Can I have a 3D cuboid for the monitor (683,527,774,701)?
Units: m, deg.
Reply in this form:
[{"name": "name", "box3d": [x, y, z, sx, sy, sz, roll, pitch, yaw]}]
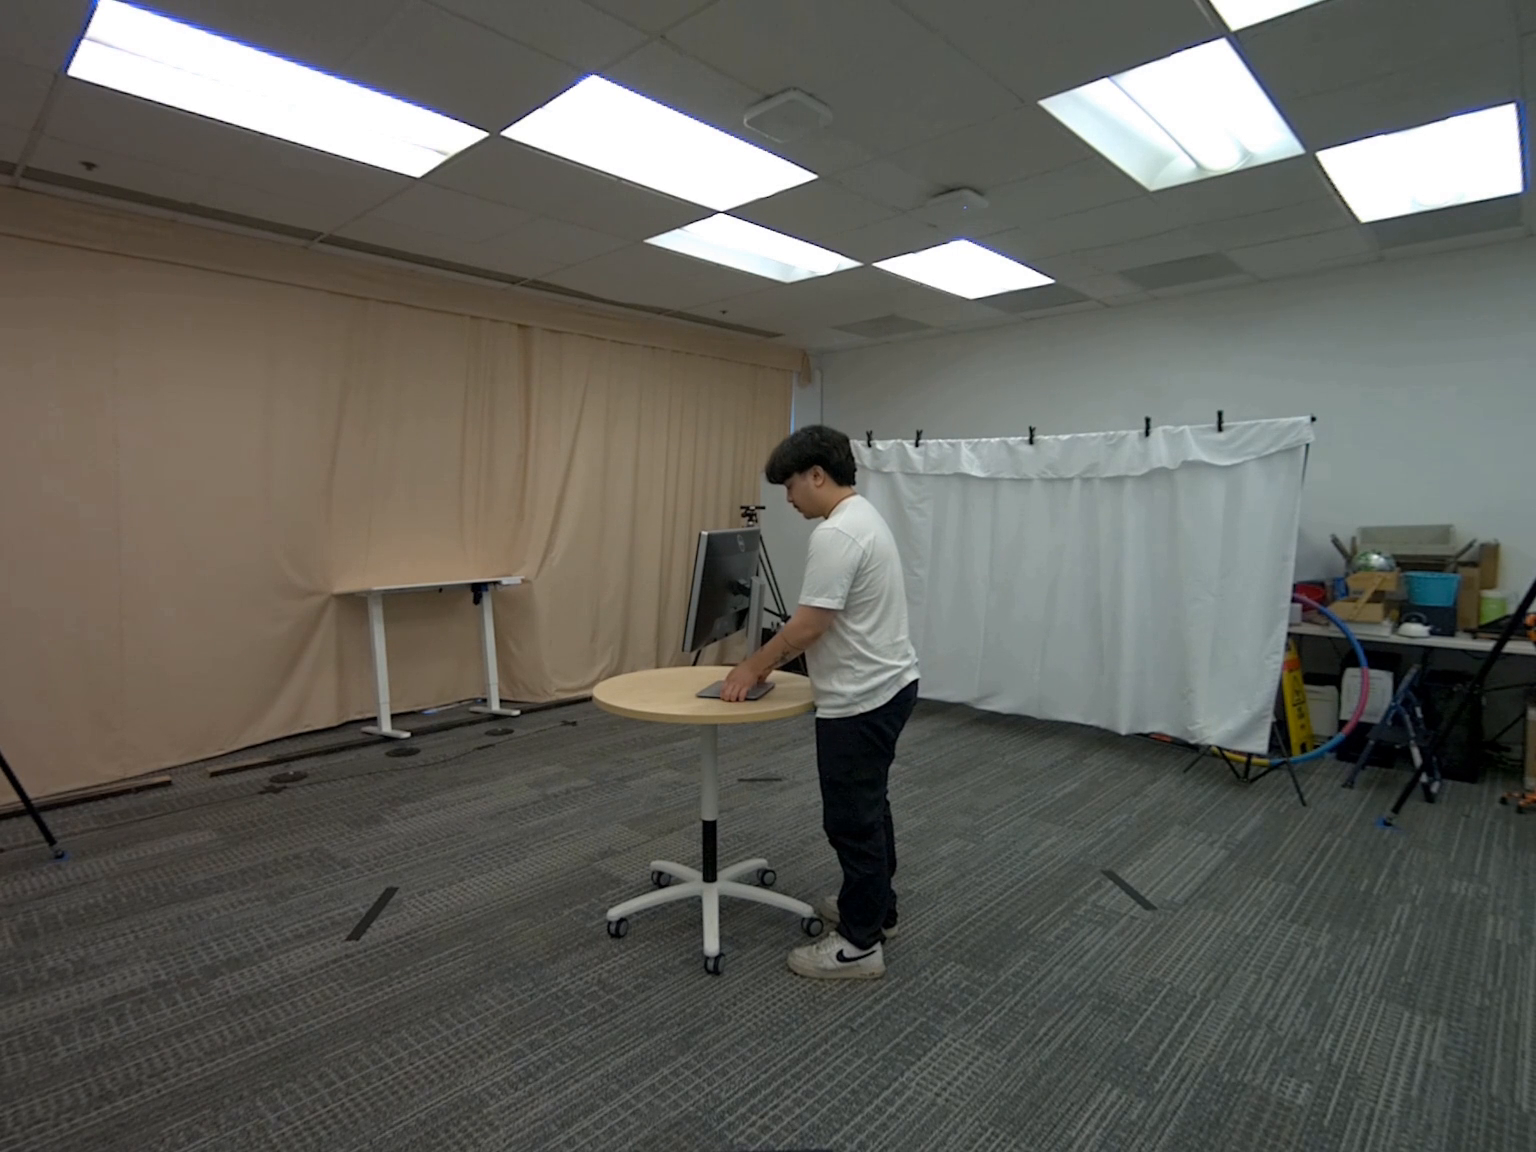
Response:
[{"name": "monitor", "box3d": [-0.076, 0.125, 2.686, 0.214, 0.552, 0.555, 5, 5, 17]}]
